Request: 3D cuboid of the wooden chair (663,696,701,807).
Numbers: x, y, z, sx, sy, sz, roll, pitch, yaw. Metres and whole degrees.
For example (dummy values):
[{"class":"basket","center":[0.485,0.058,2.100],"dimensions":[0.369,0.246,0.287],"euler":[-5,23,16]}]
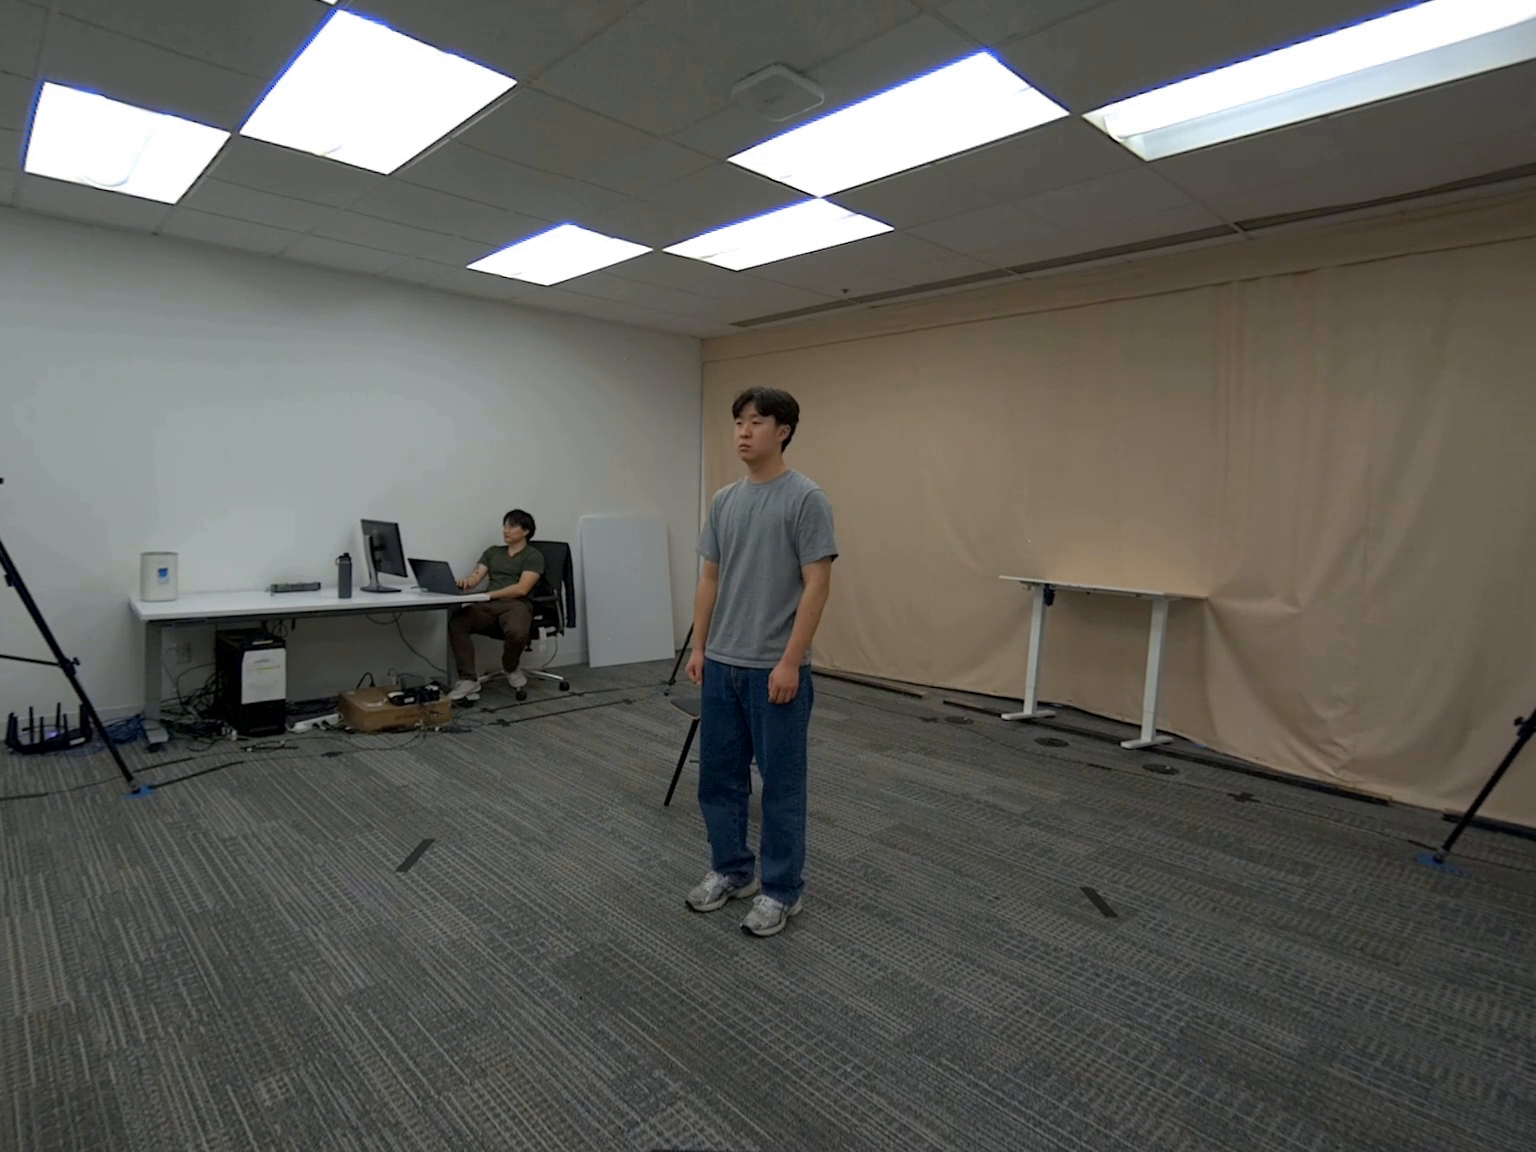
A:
[{"class":"wooden chair","center":[-0.155,0.631,3.680],"dimensions":[0.468,0.873,0.536],"euler":[0,8,-29]}]
